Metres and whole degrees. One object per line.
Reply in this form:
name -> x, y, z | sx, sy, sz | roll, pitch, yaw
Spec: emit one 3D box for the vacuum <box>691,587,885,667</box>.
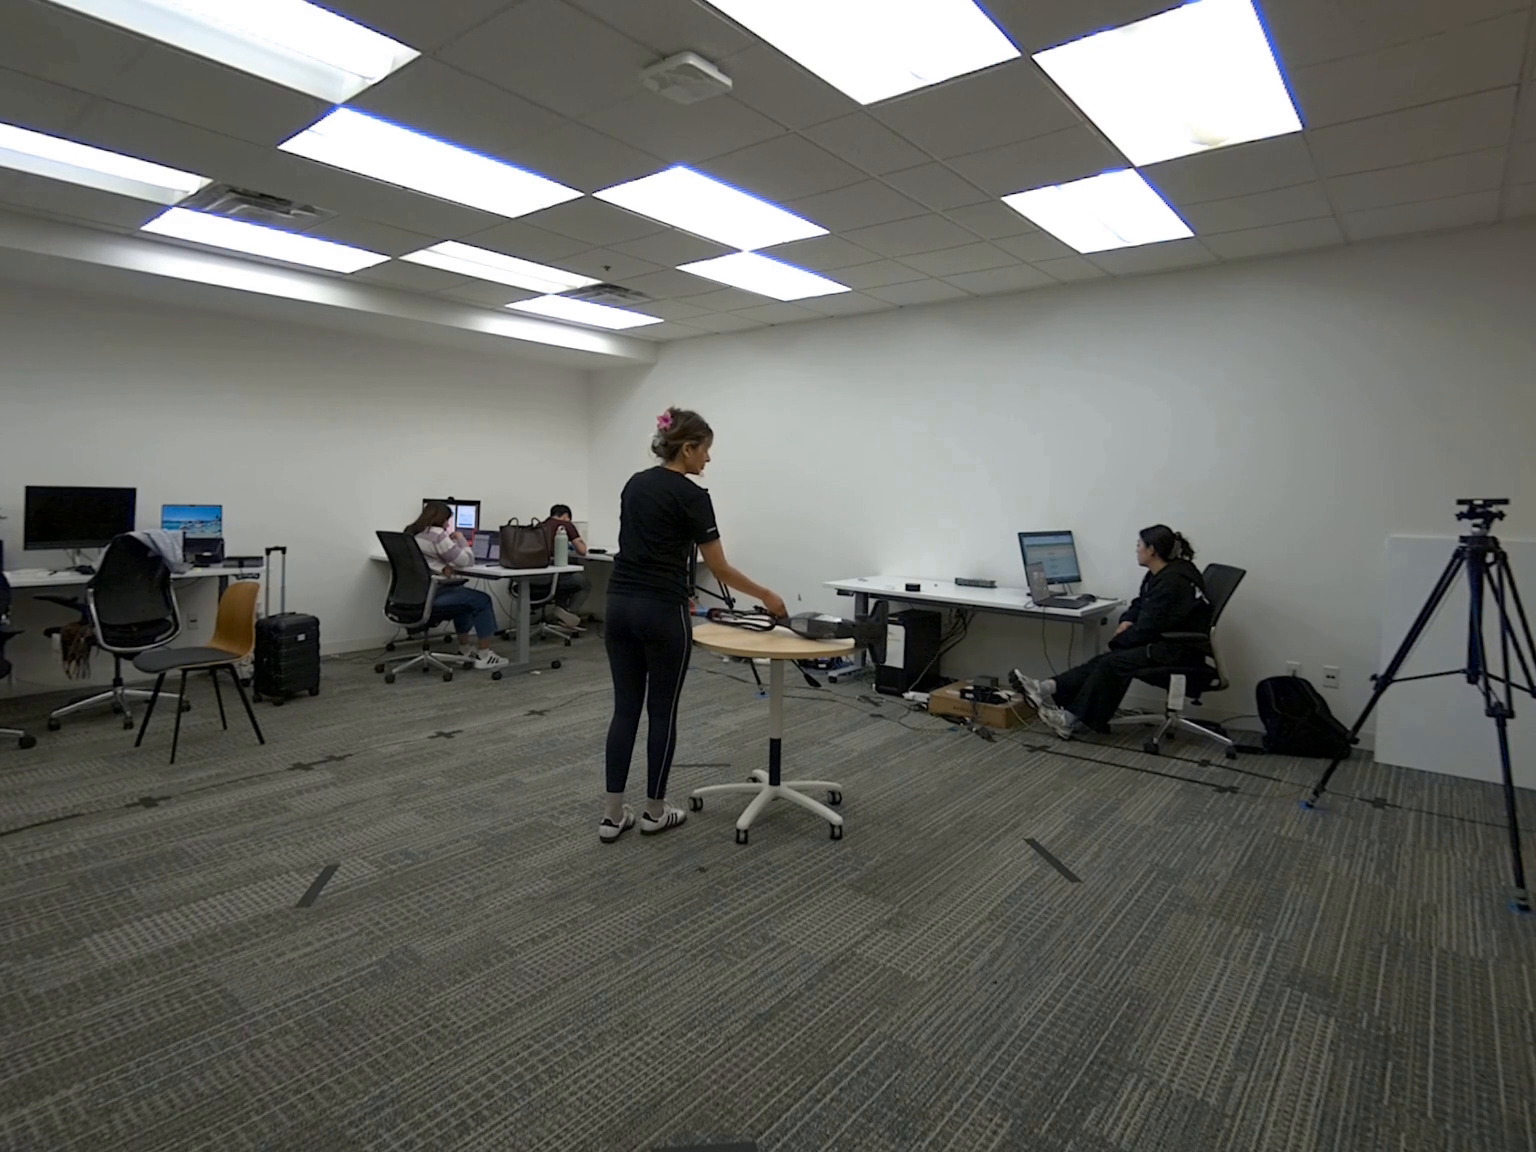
vacuum -> -0.004, 0.201, 3.665 | 1.083, 0.251, 0.140 | 2, 8, 40
